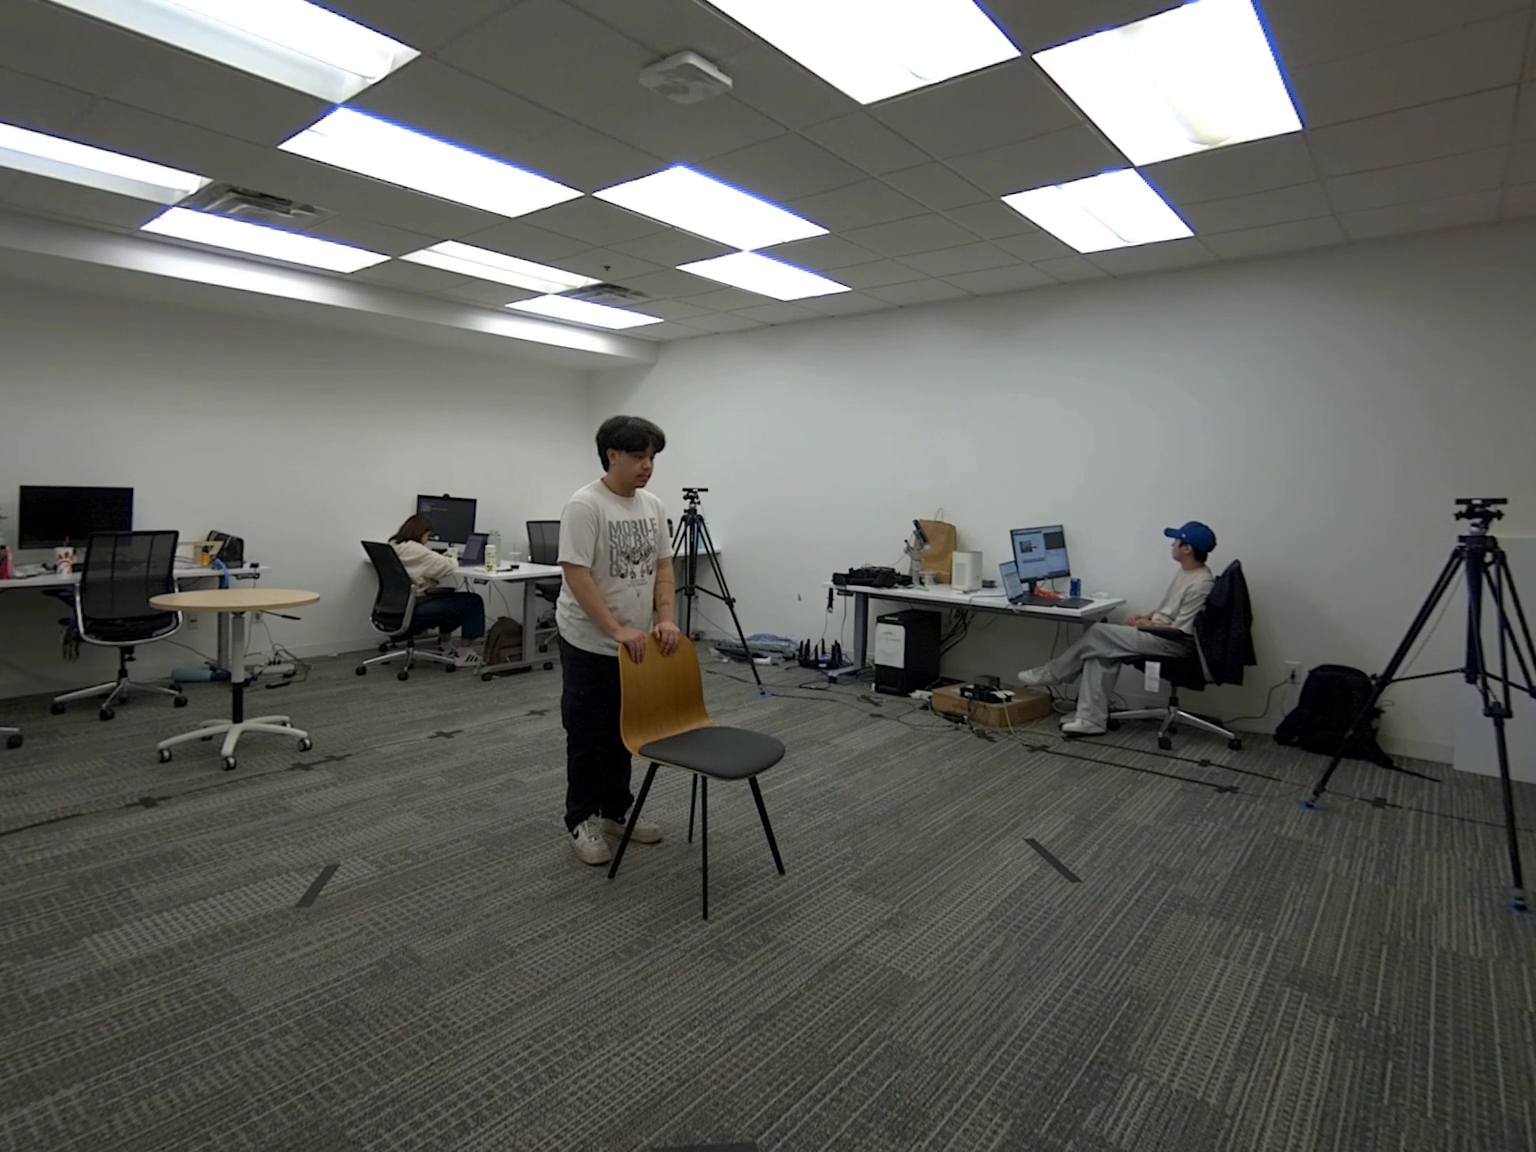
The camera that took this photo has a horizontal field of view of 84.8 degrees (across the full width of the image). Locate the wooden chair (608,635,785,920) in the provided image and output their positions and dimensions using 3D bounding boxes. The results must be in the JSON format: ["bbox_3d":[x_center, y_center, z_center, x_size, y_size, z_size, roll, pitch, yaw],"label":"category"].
[{"bbox_3d":[-0.244,0.652,3.017,0.539,0.878,0.464,-2,0,37],"label":"wooden chair"}]
